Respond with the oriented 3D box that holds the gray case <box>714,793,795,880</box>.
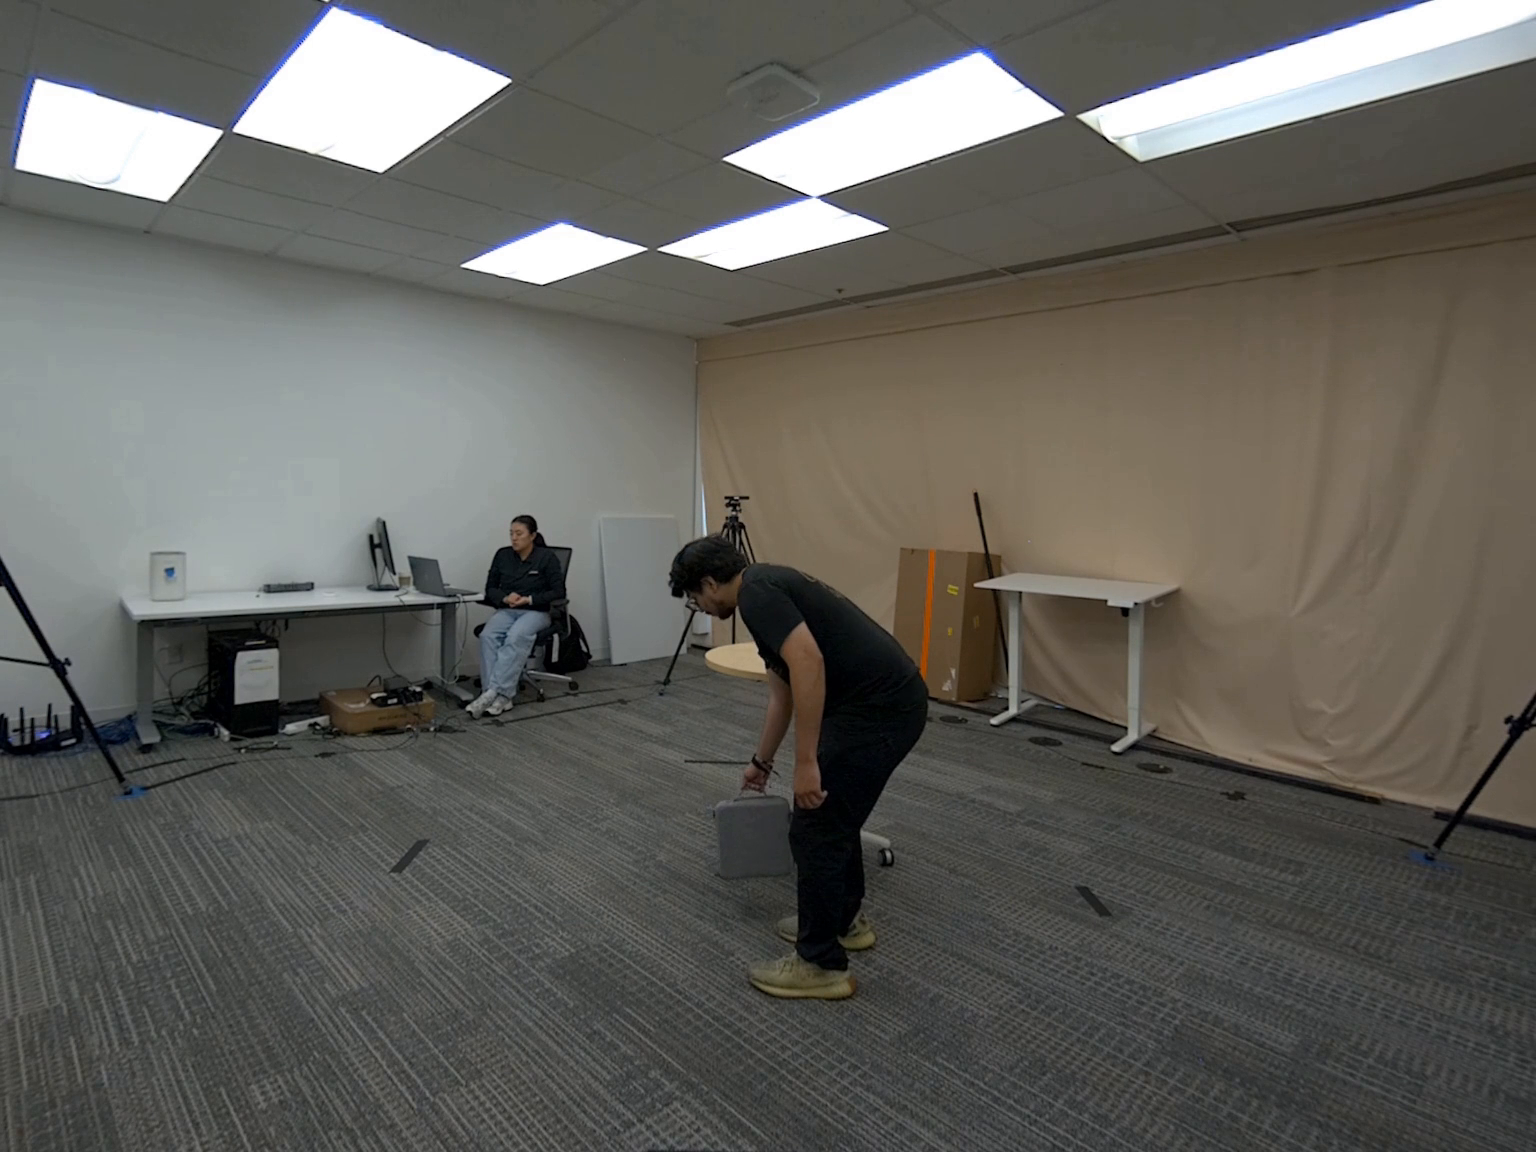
[{"bbox_3d":[-0.052,0.881,2.849,0.257,0.262,0.103,-5,-5,4],"label":"gray case"}]
